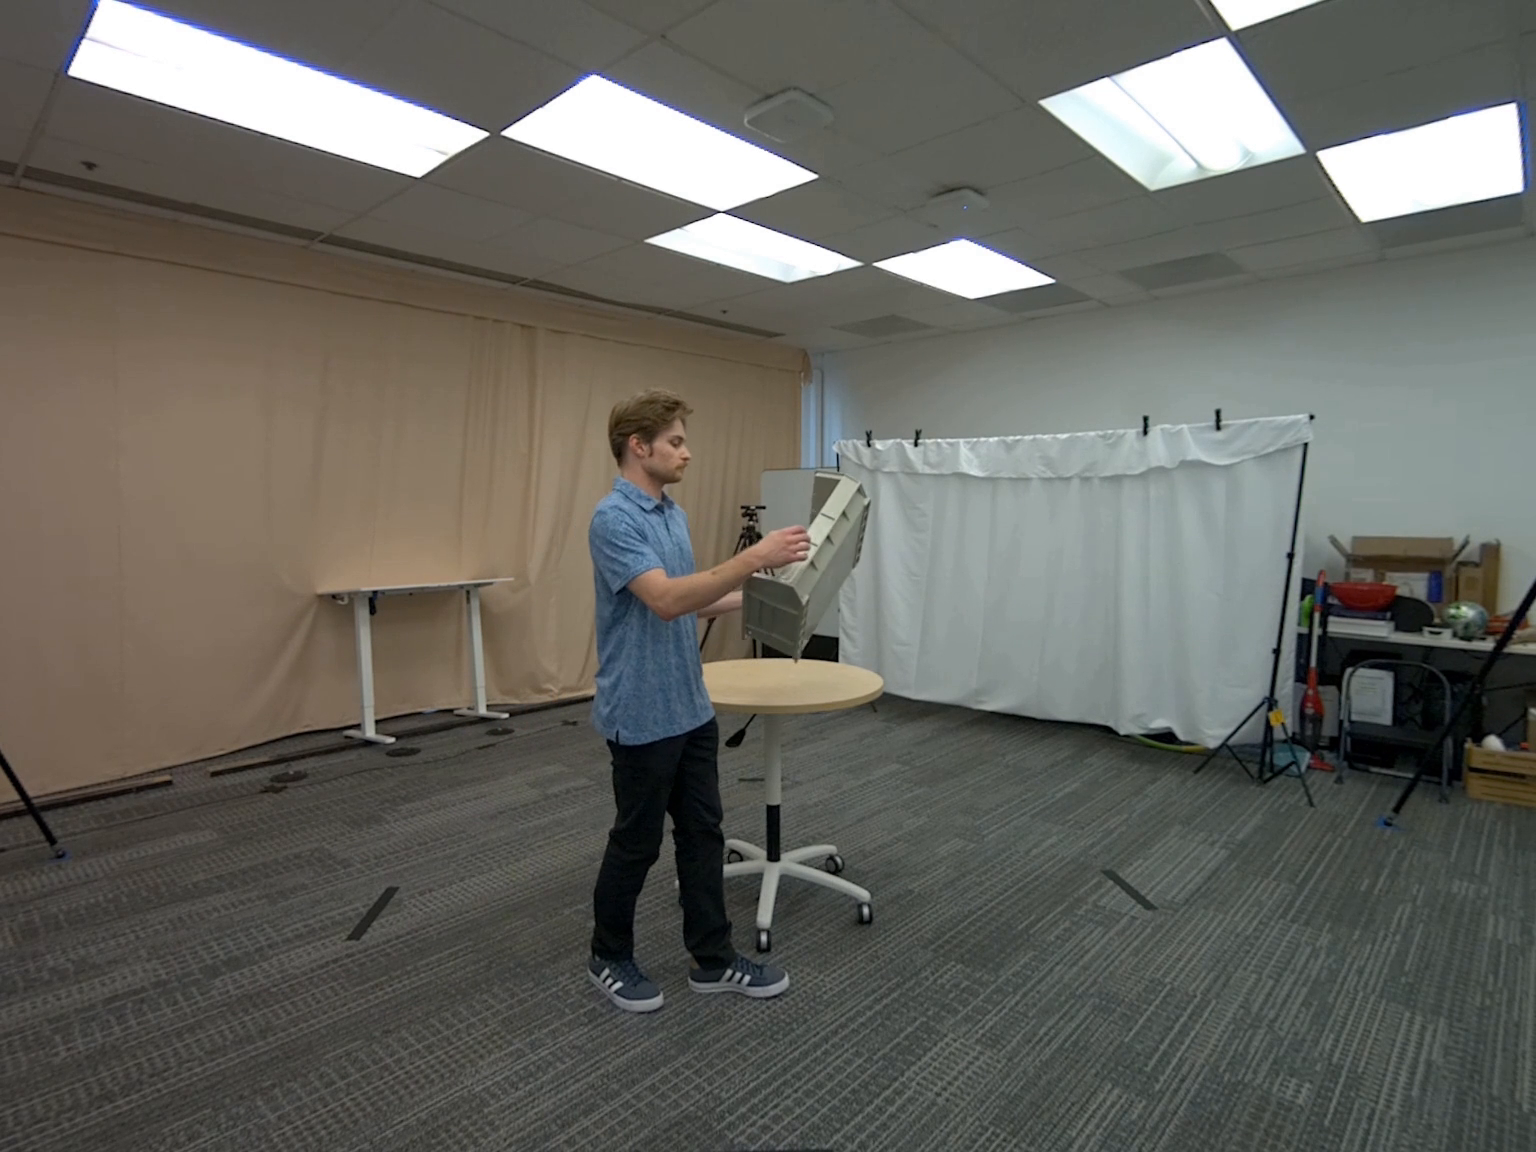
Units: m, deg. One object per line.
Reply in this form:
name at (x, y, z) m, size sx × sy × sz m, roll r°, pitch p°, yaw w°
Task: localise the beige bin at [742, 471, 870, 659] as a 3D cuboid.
beige bin at (0.117, -0.036, 2.379) m, size 0.193 × 0.421 × 0.370 m, roll 25°, pitch -31°, yaw 17°
